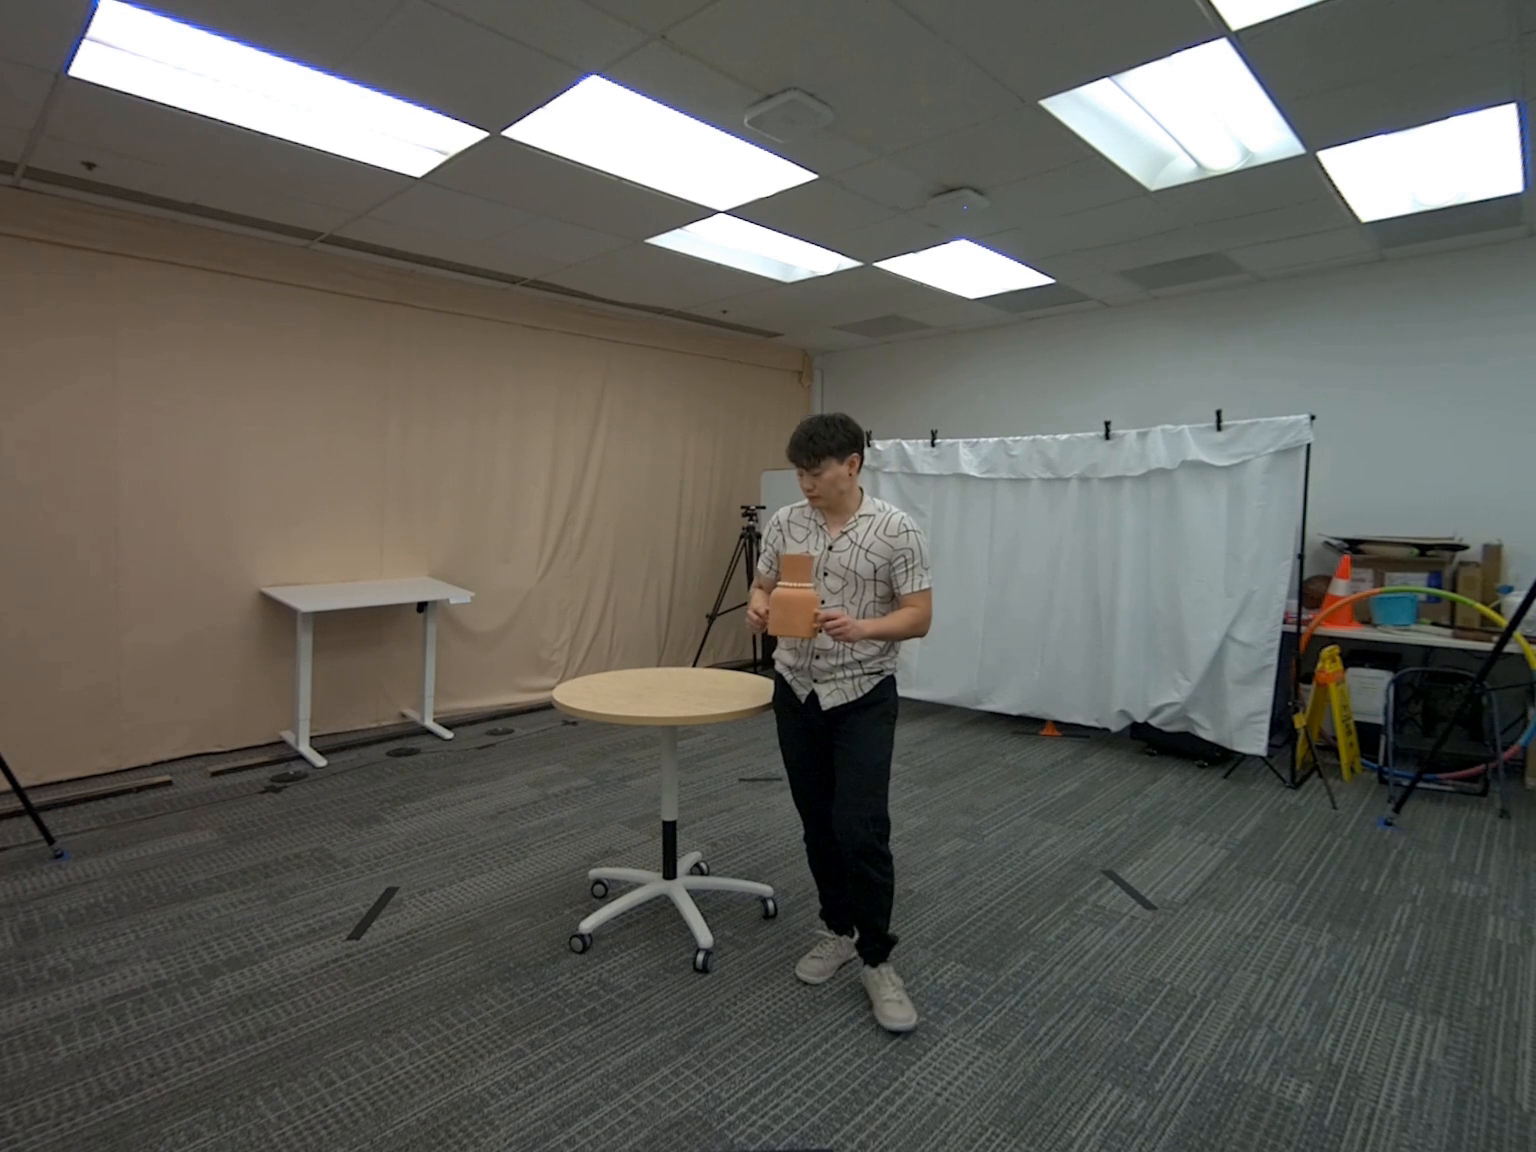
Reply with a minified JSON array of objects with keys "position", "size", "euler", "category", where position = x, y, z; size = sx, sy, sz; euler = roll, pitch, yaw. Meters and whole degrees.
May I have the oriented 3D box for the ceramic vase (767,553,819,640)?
[{"position":[0.076,0.053,2.284],"size":[0.158,0.220,0.135],"euler":[3,-1,-6],"category":"ceramic vase"}]
